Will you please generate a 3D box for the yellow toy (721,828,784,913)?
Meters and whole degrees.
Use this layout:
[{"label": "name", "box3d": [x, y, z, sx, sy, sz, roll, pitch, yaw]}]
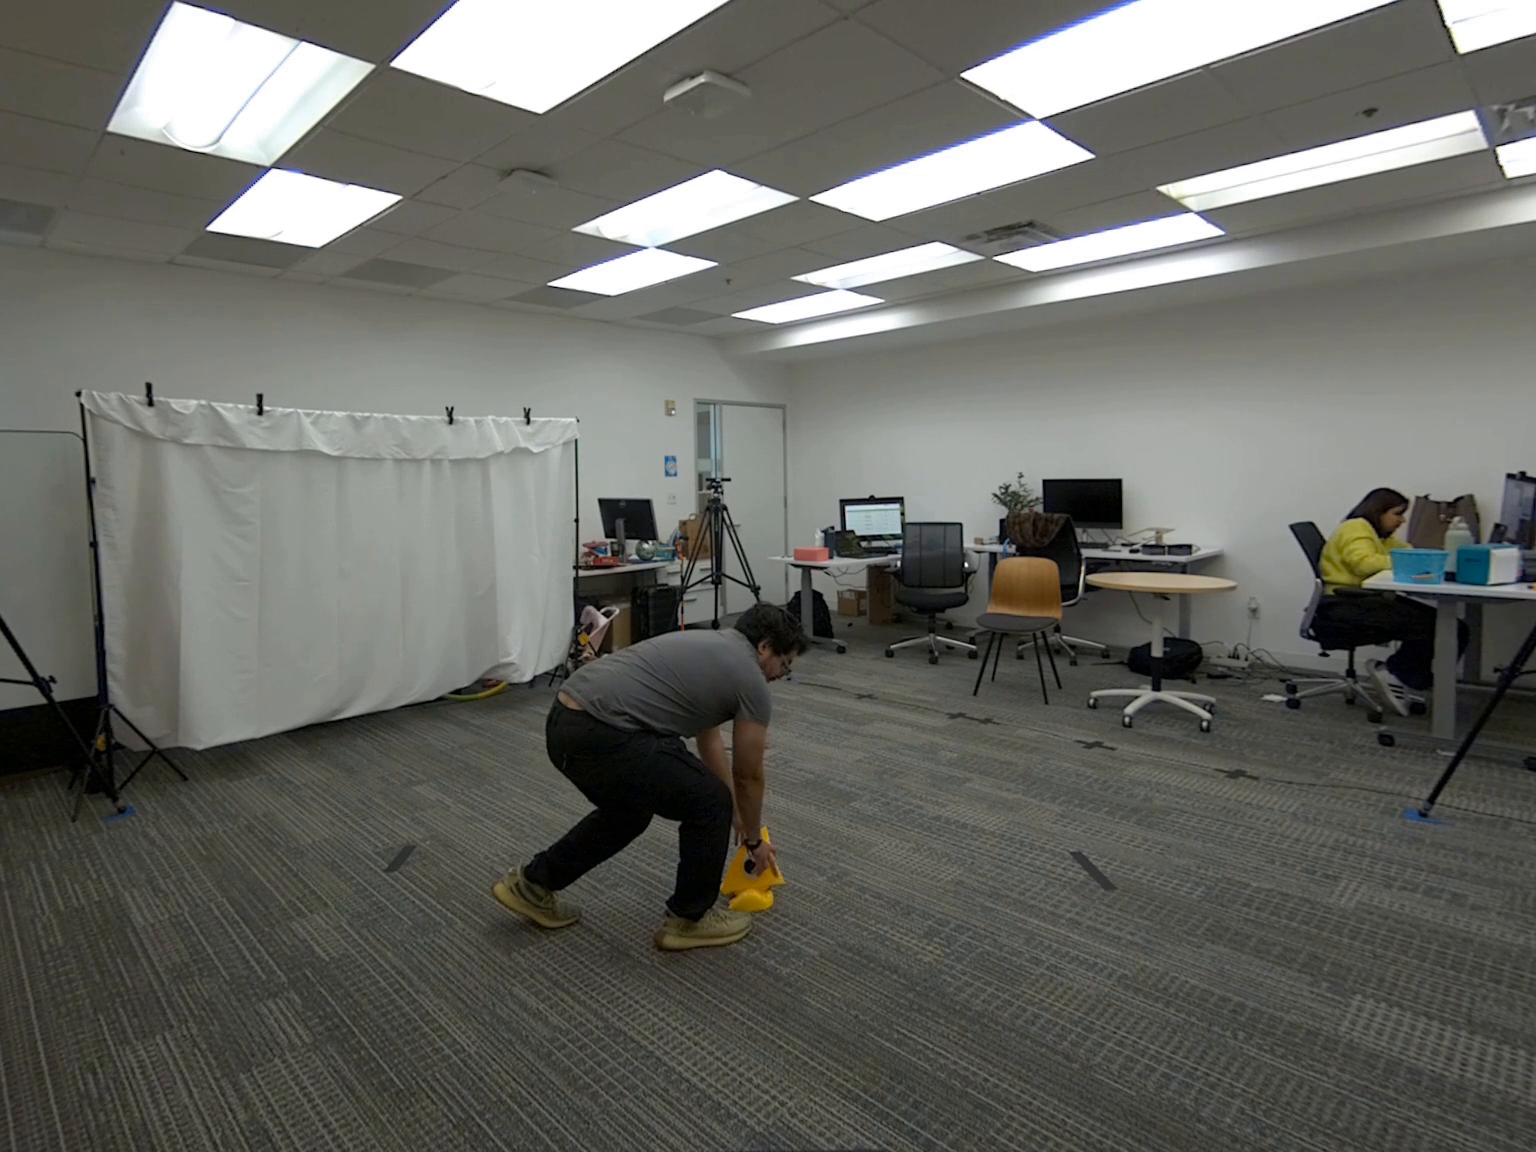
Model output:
[{"label": "yellow toy", "box3d": [-0.064, 0.962, 2.854, 0.190, 0.230, 0.208, -3, 5, -16]}]
